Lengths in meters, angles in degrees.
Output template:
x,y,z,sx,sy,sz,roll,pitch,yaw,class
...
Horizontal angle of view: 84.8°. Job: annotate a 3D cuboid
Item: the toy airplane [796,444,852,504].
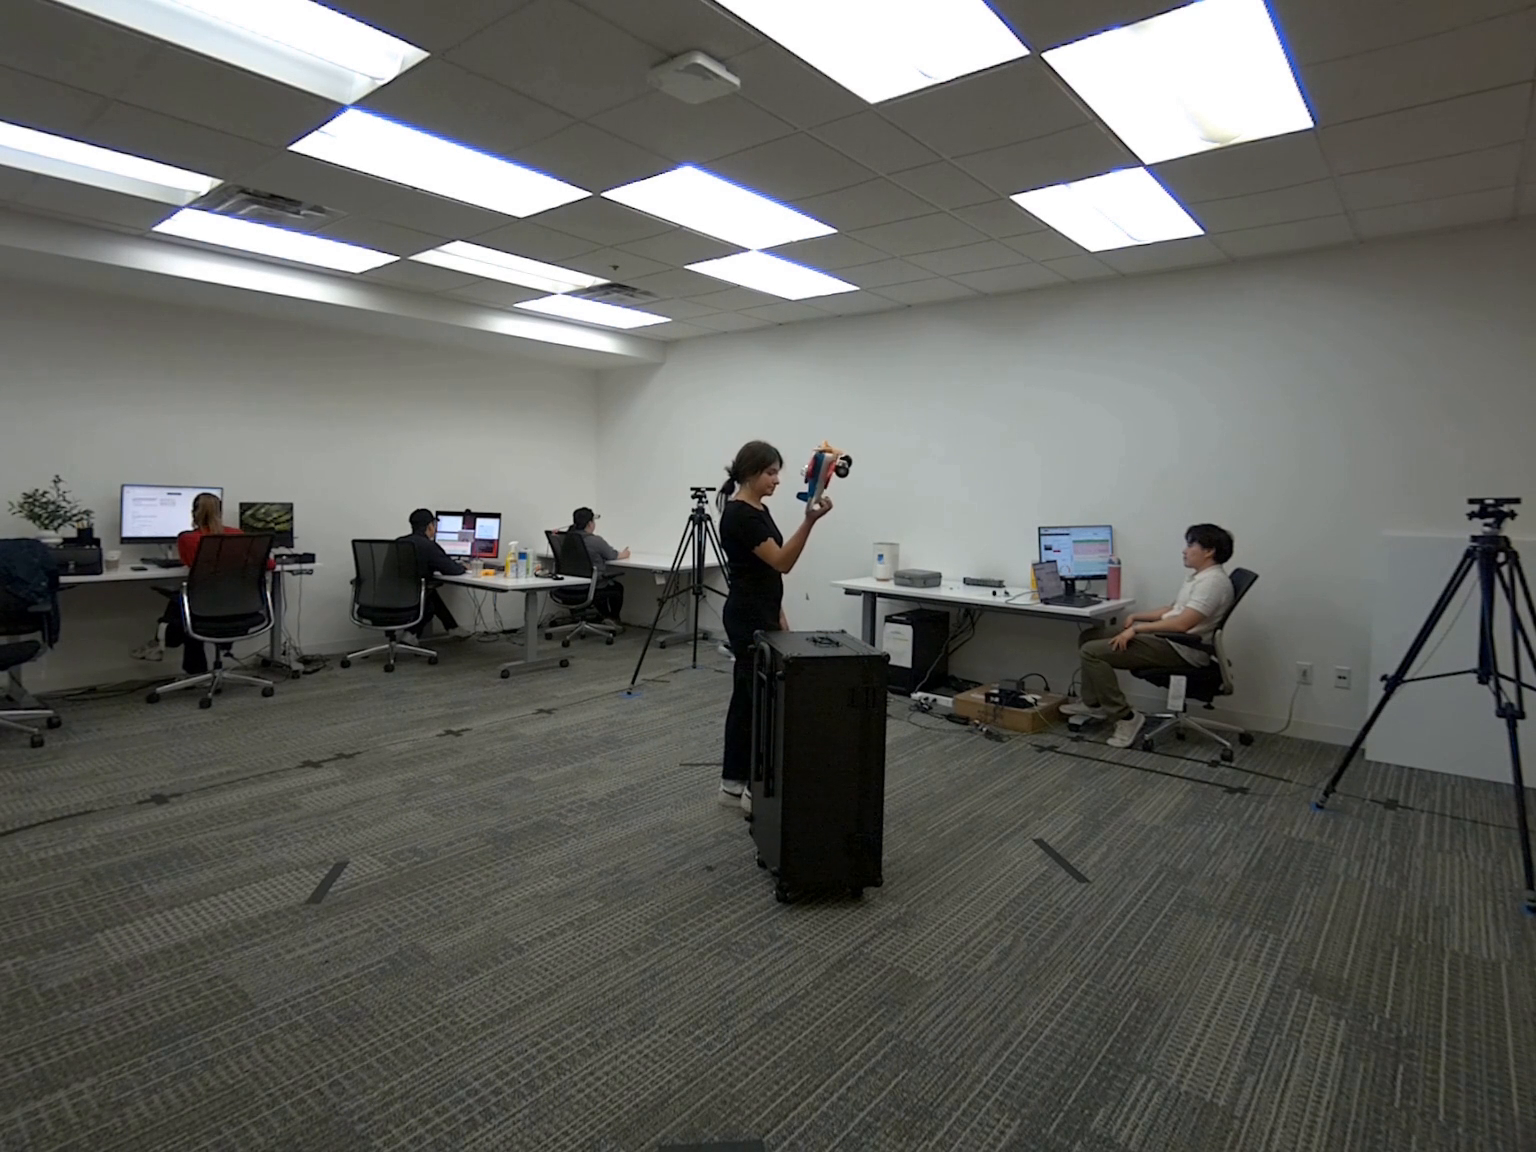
x,y,z,sx,sy,sz,roll,pitch,yaw,class
0.200,-0.380,3.304,0.156,0.259,0.252,29,3,-2,toy airplane
